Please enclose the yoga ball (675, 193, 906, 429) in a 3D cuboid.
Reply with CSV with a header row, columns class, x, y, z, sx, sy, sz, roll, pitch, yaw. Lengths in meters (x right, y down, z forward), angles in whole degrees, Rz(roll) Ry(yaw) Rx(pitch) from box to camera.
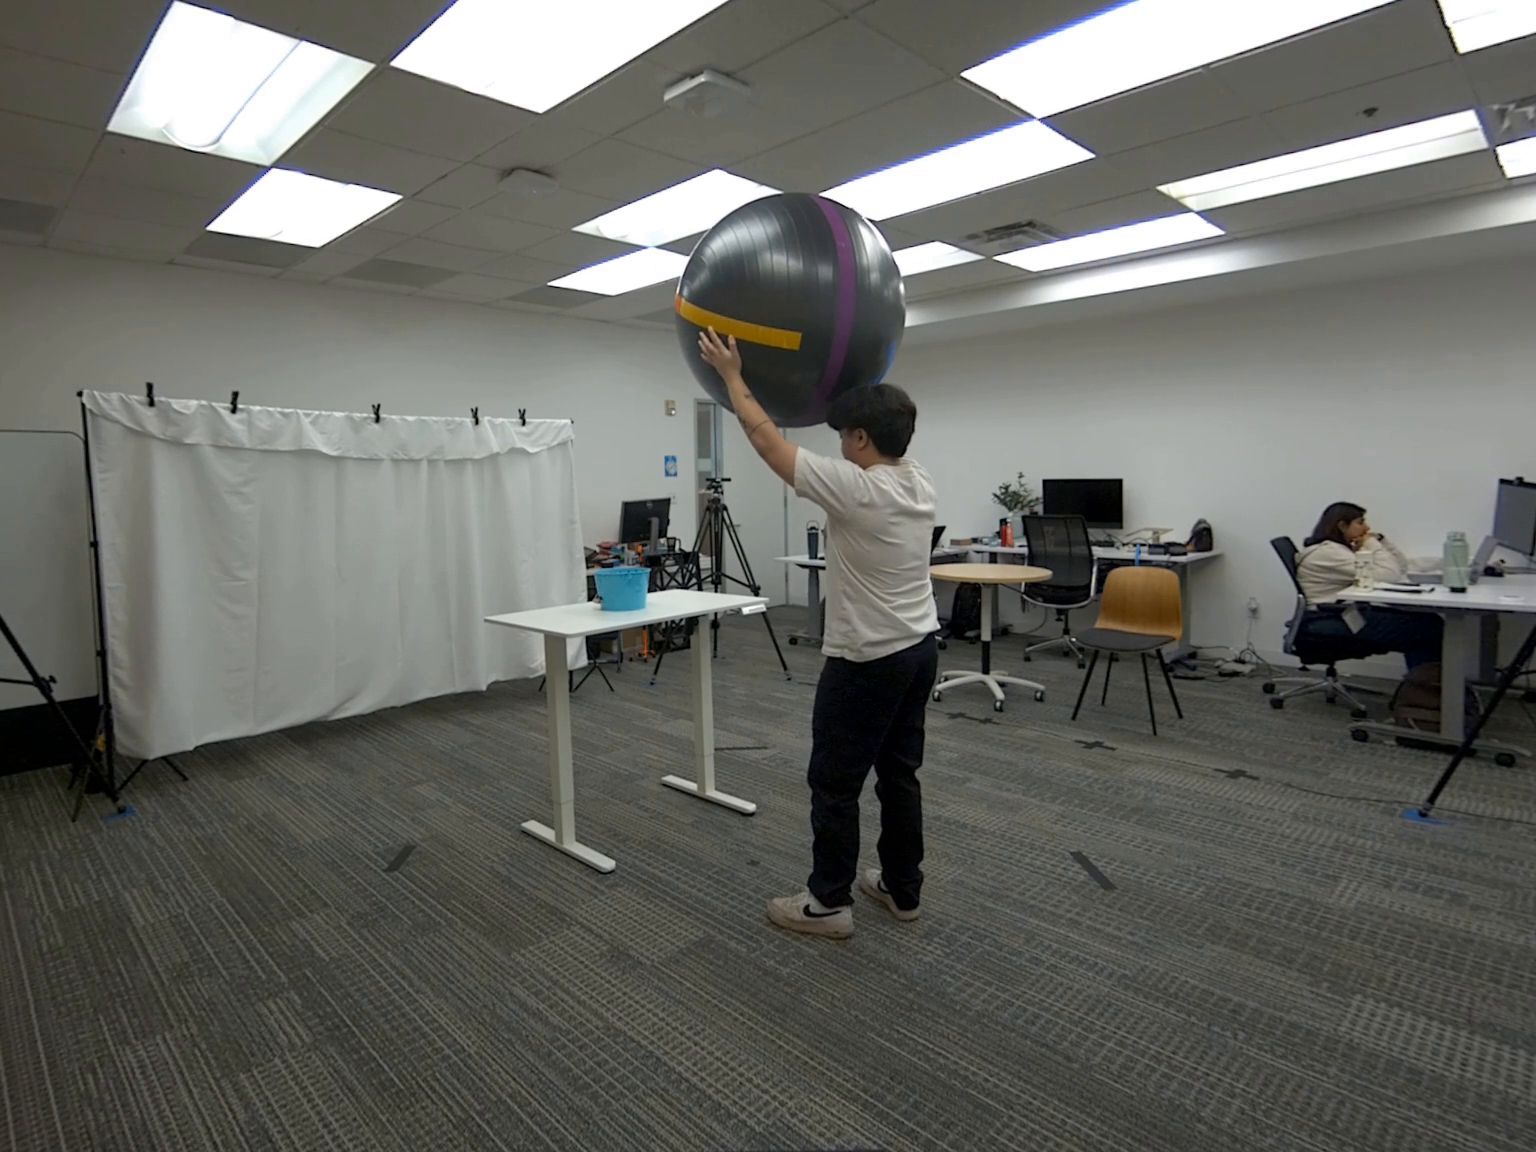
class,x,y,z,sx,sy,sz,roll,pitch,yaw
yoga ball,0.070,-0.872,2.846,0.757,0.755,0.762,-1,5,-2
